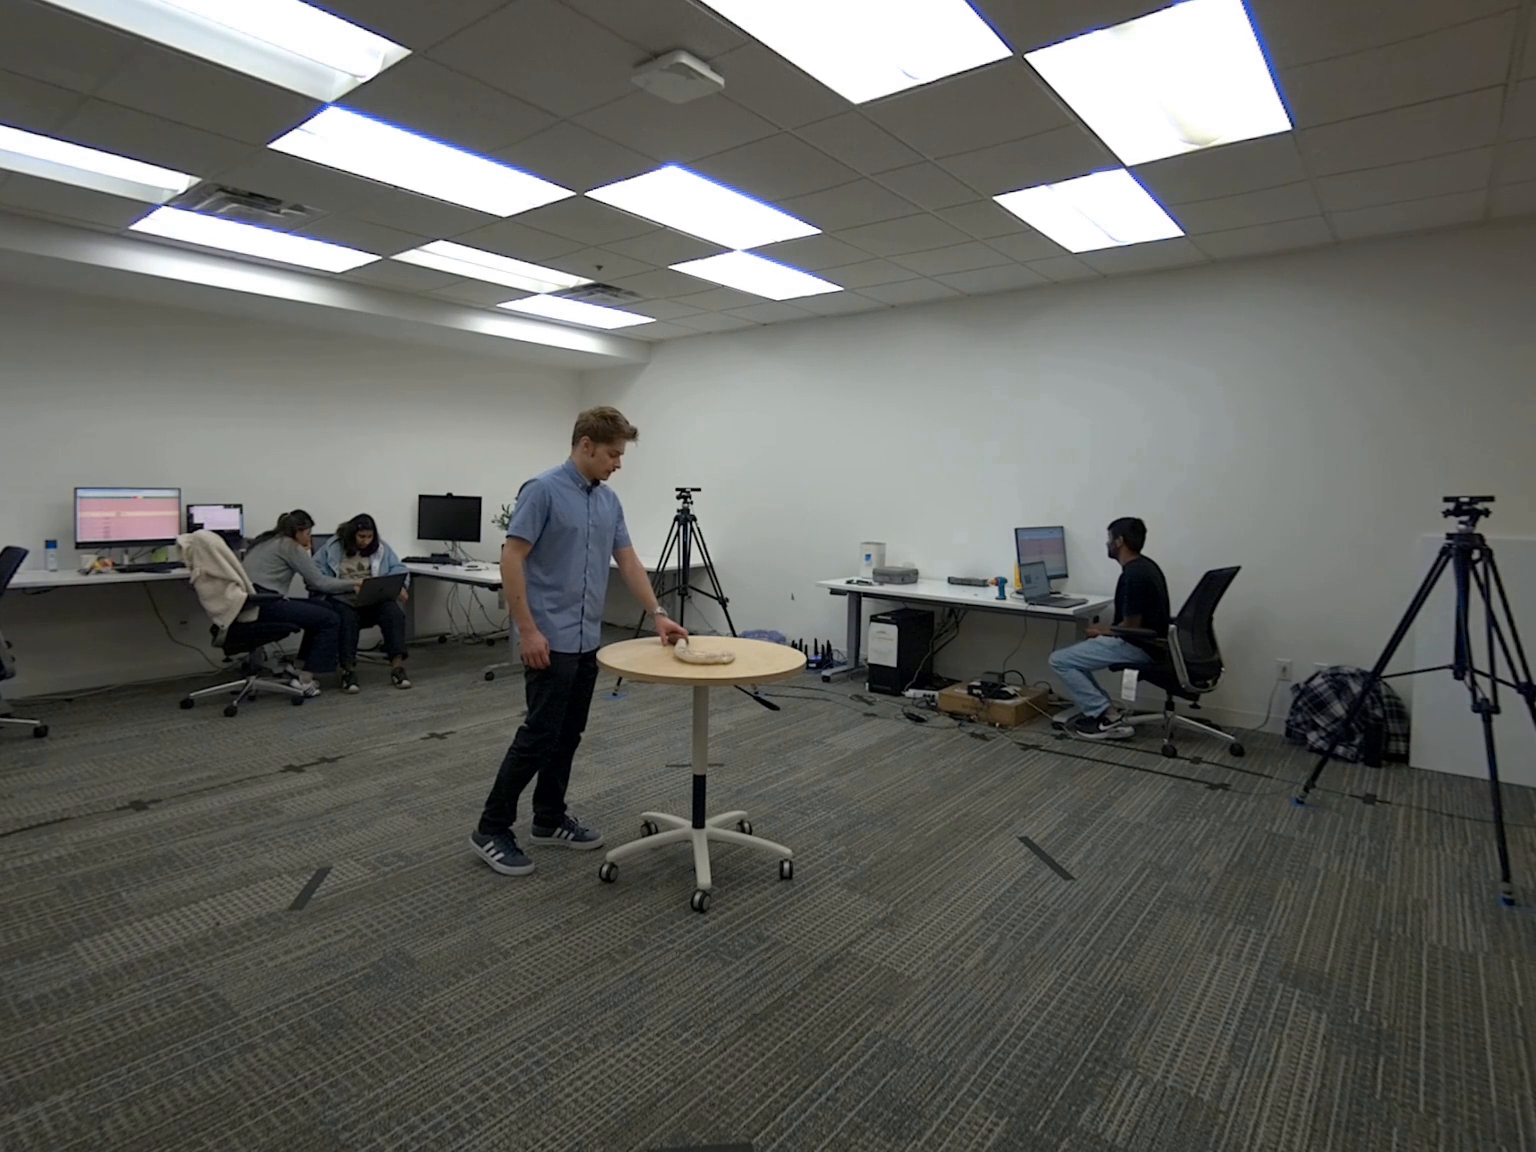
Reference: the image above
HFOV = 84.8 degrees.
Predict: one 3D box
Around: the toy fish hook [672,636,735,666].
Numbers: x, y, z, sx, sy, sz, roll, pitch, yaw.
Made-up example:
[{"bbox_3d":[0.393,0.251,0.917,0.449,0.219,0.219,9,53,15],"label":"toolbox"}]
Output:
[{"bbox_3d":[-0.272,0.267,3.165,0.220,0.048,0.518,8,5,-17],"label":"toy fish hook"}]
